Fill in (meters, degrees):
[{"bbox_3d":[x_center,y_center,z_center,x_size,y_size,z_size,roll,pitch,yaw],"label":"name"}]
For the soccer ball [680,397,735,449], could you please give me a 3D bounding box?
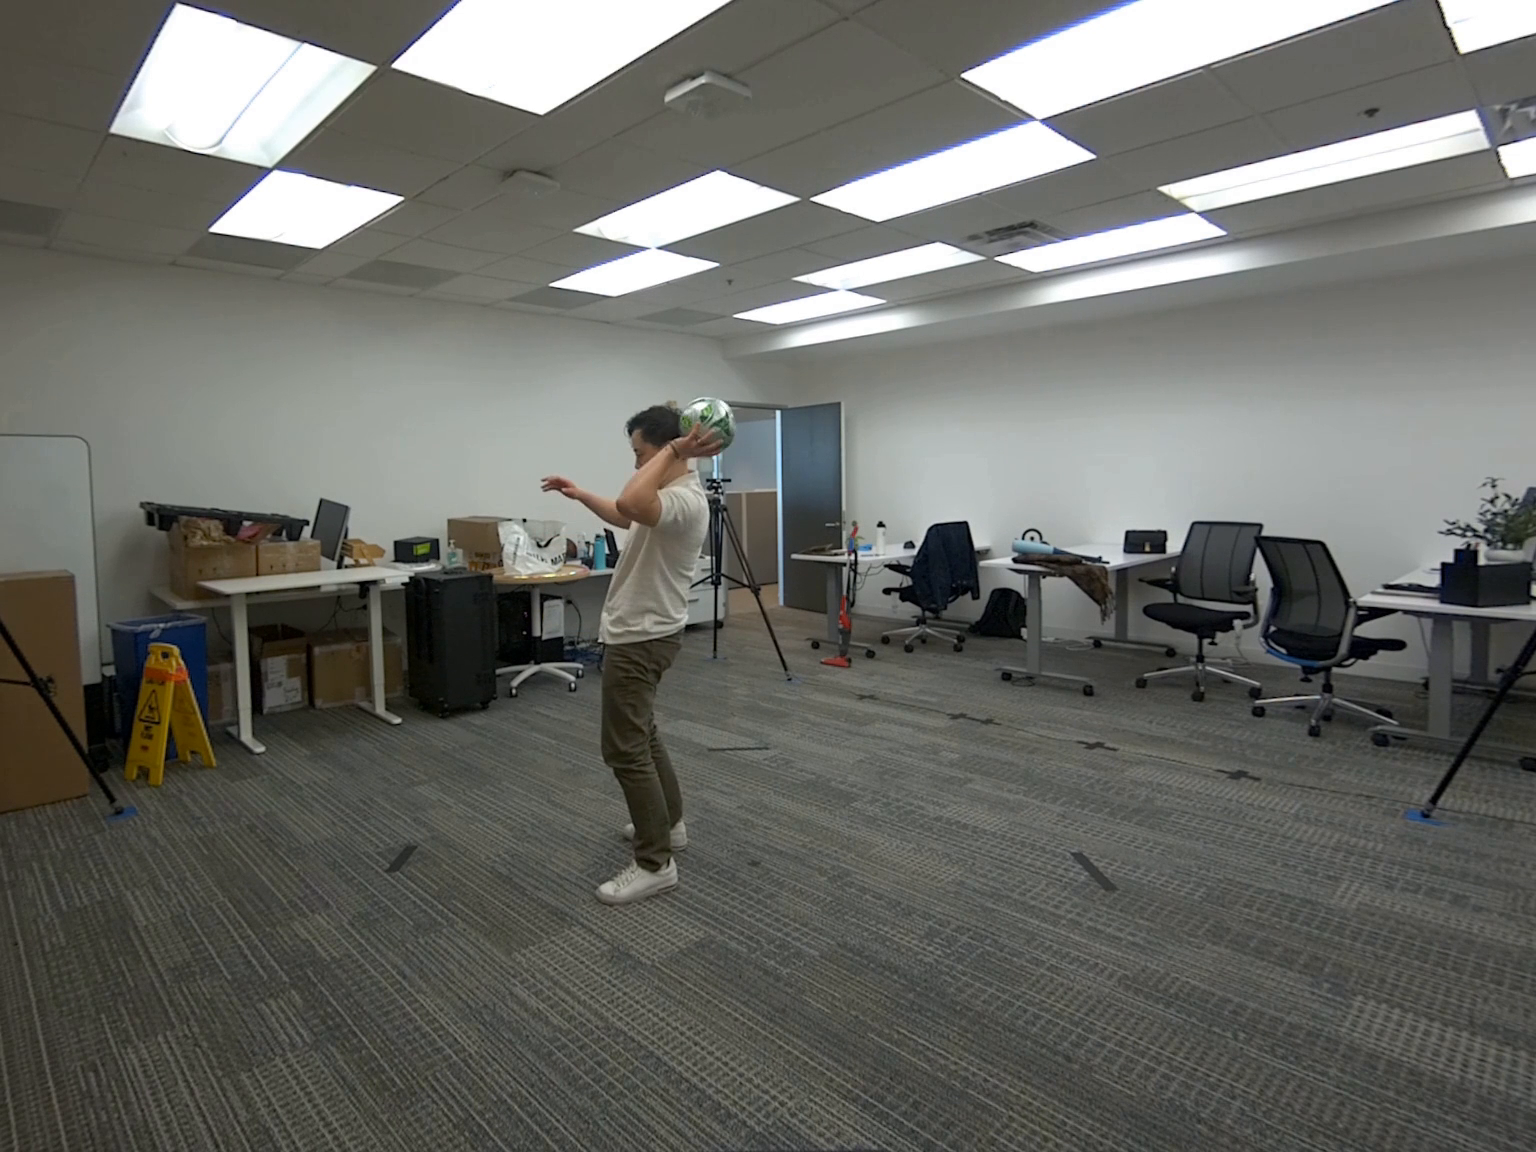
[{"bbox_3d":[-0.204,-0.483,2.780,0.187,0.187,0.188,-1,5,-2],"label":"soccer ball"}]
